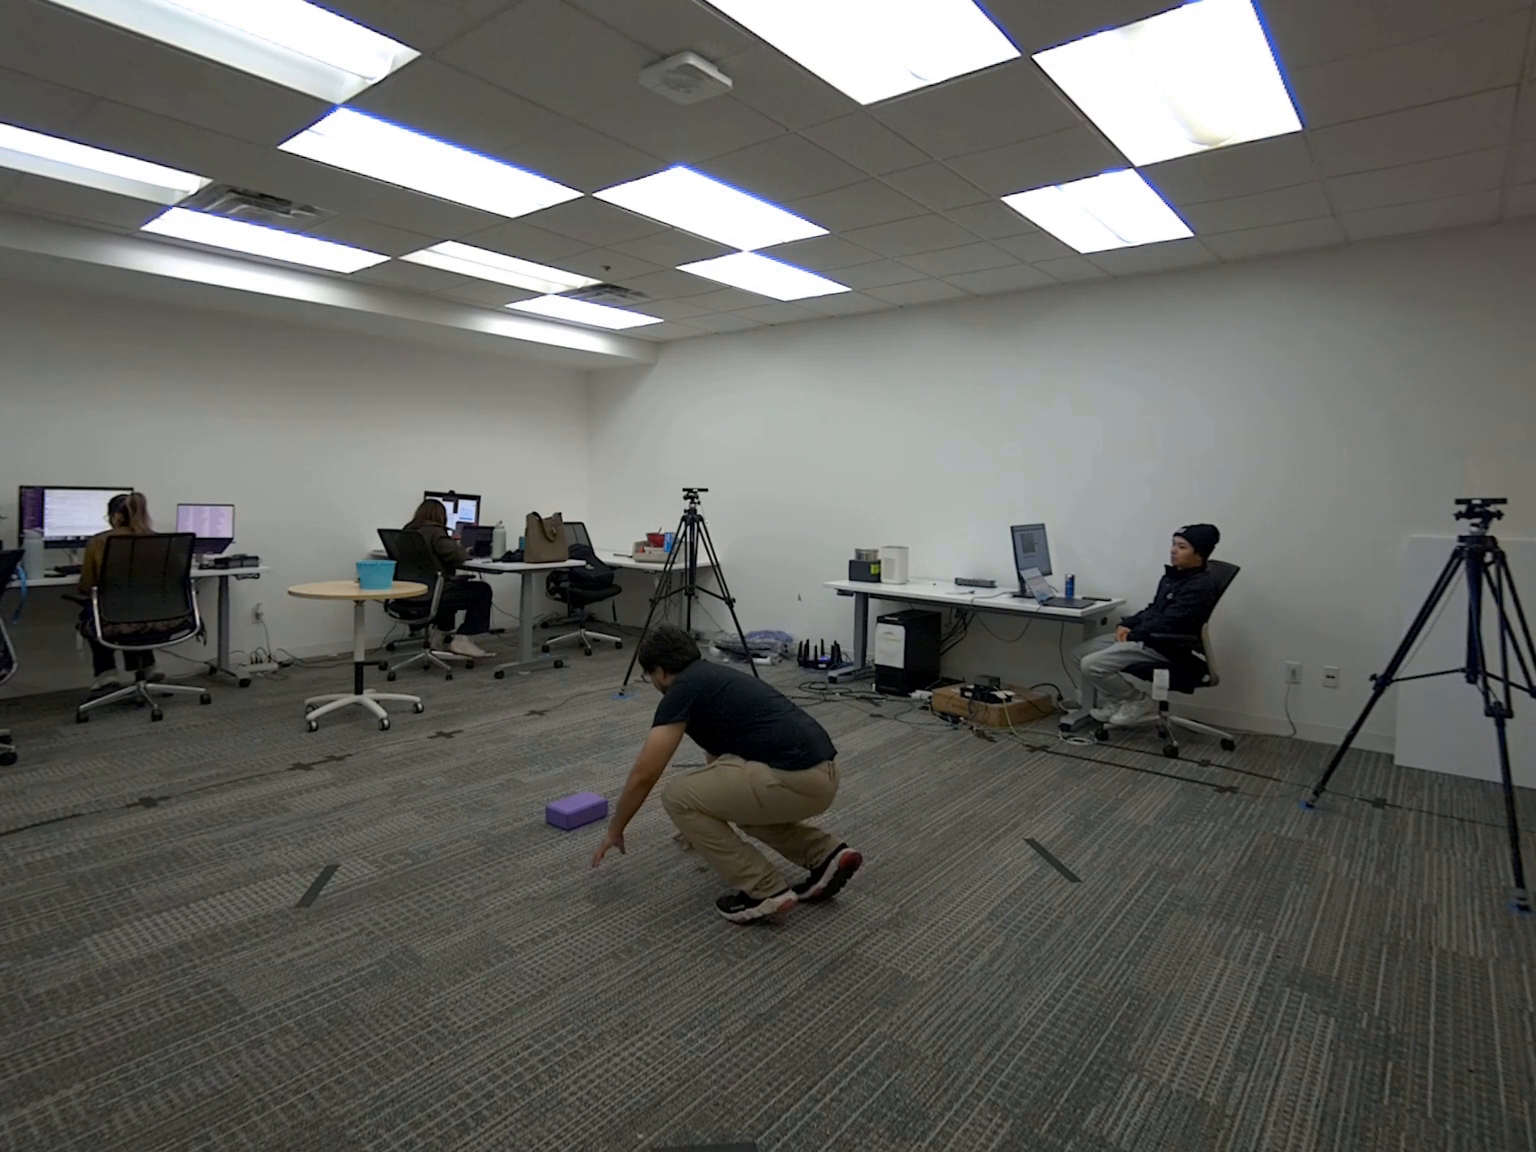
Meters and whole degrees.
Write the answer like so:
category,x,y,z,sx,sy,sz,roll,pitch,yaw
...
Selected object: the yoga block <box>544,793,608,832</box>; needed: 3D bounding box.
category,x,y,z,sx,sy,sz,roll,pitch,yaw
yoga block,-0.813,0.978,3.559,0.154,0.076,0.222,5,6,37
